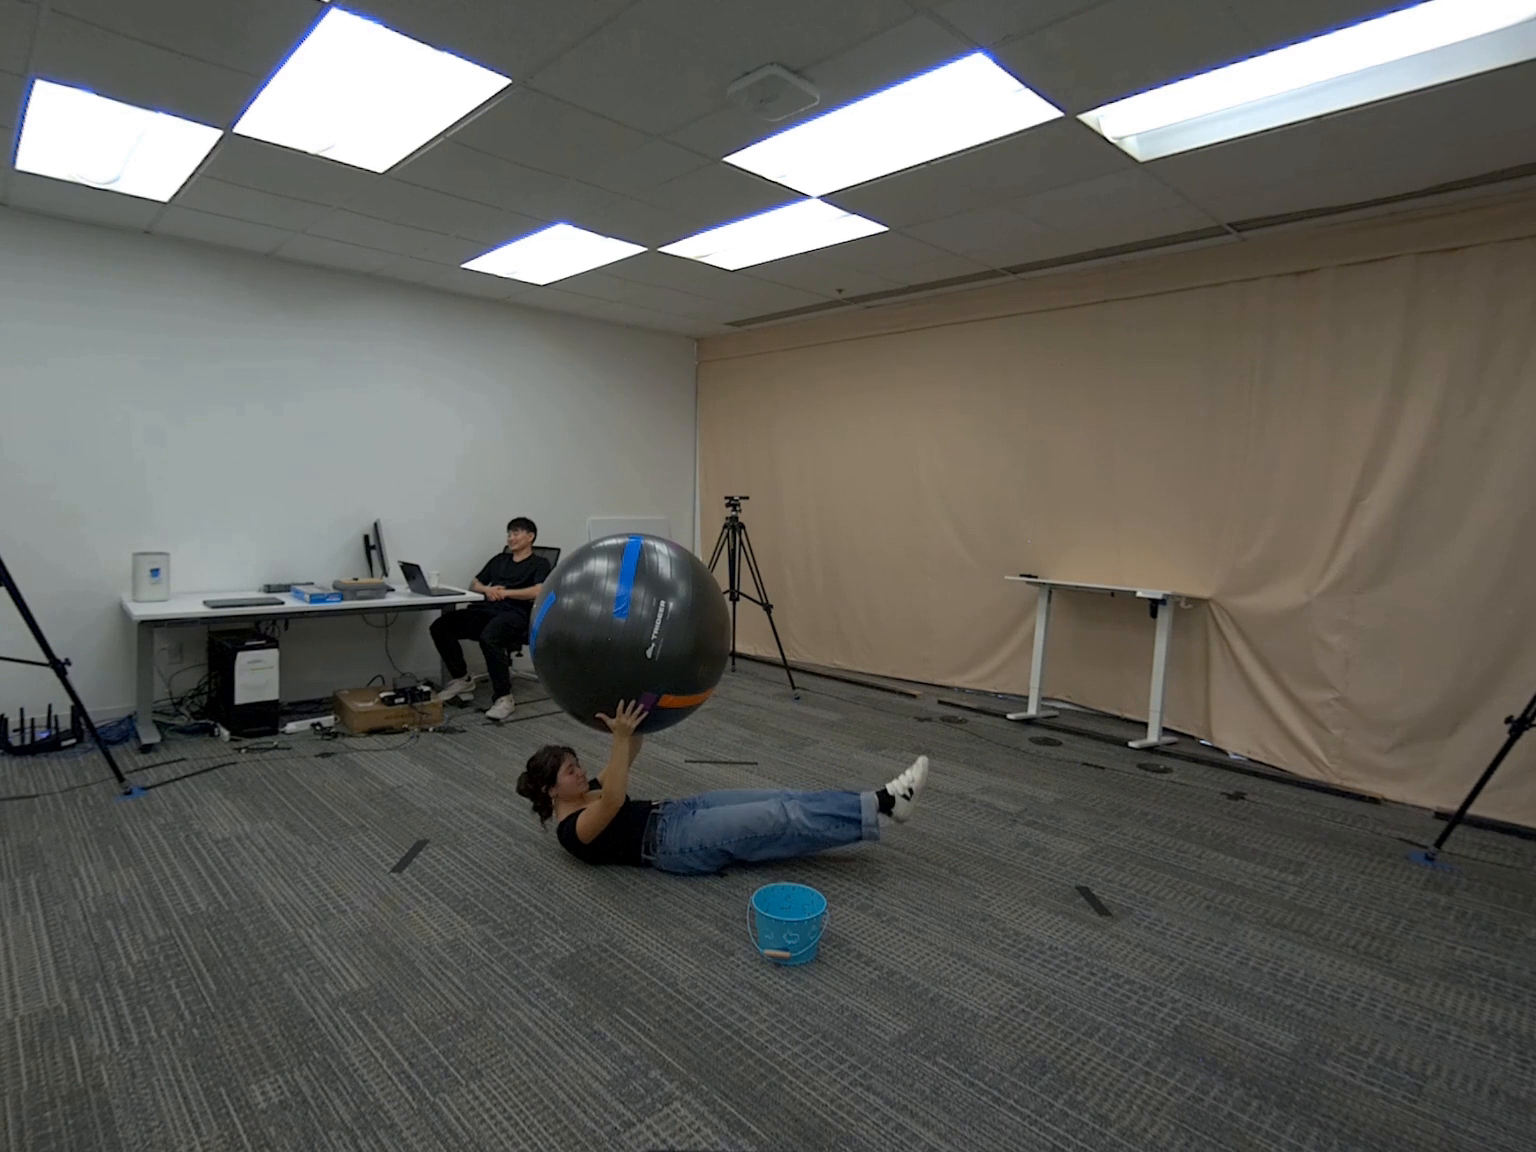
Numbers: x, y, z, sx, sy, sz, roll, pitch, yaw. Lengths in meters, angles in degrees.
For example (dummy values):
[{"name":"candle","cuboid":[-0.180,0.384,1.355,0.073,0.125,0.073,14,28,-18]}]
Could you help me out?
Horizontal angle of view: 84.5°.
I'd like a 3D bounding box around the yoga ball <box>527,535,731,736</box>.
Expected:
[{"name":"yoga ball","cuboid":[-0.523,0.221,3.182,0.757,0.756,0.761,1,4,-1]}]
